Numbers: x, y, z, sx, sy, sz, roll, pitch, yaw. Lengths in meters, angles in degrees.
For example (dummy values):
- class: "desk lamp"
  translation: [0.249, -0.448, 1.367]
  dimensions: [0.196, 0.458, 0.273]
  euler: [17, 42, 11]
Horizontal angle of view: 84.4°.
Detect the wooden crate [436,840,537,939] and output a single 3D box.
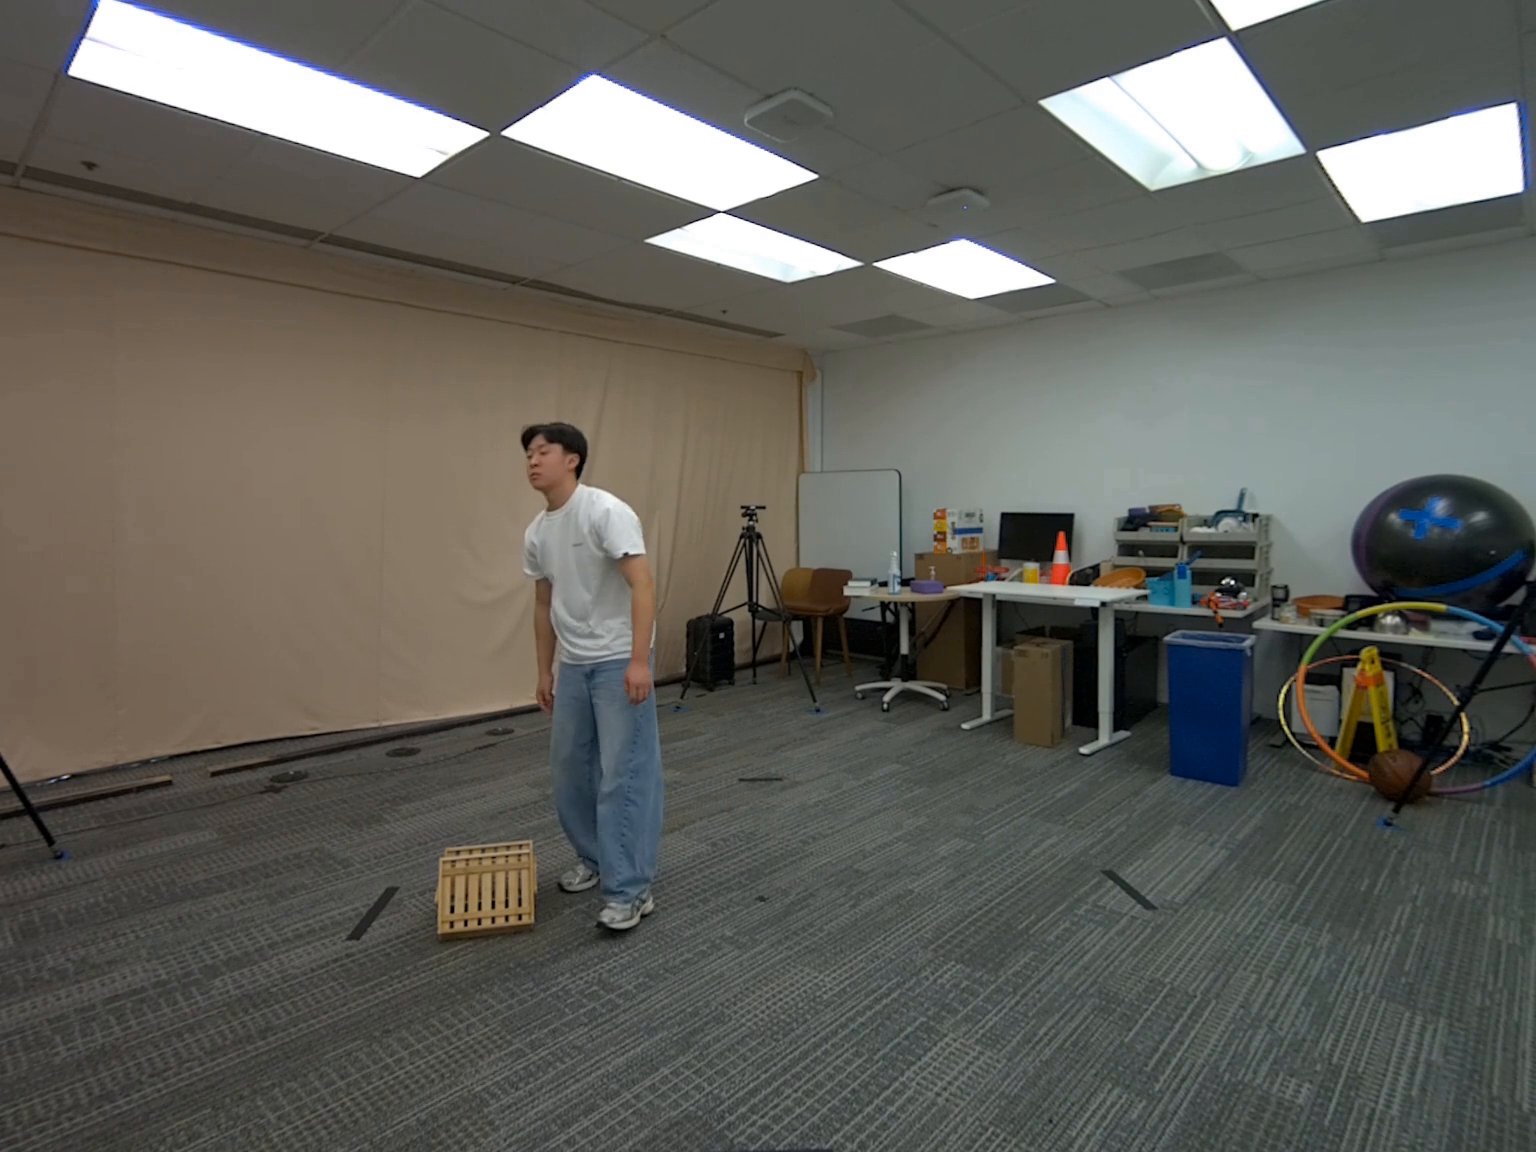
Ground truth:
- class: "wooden crate"
  translation: [-0.960, 1.074, 2.877]
  dimensions: [0.320, 0.307, 0.273]
  euler: [-1, -24, -14]
